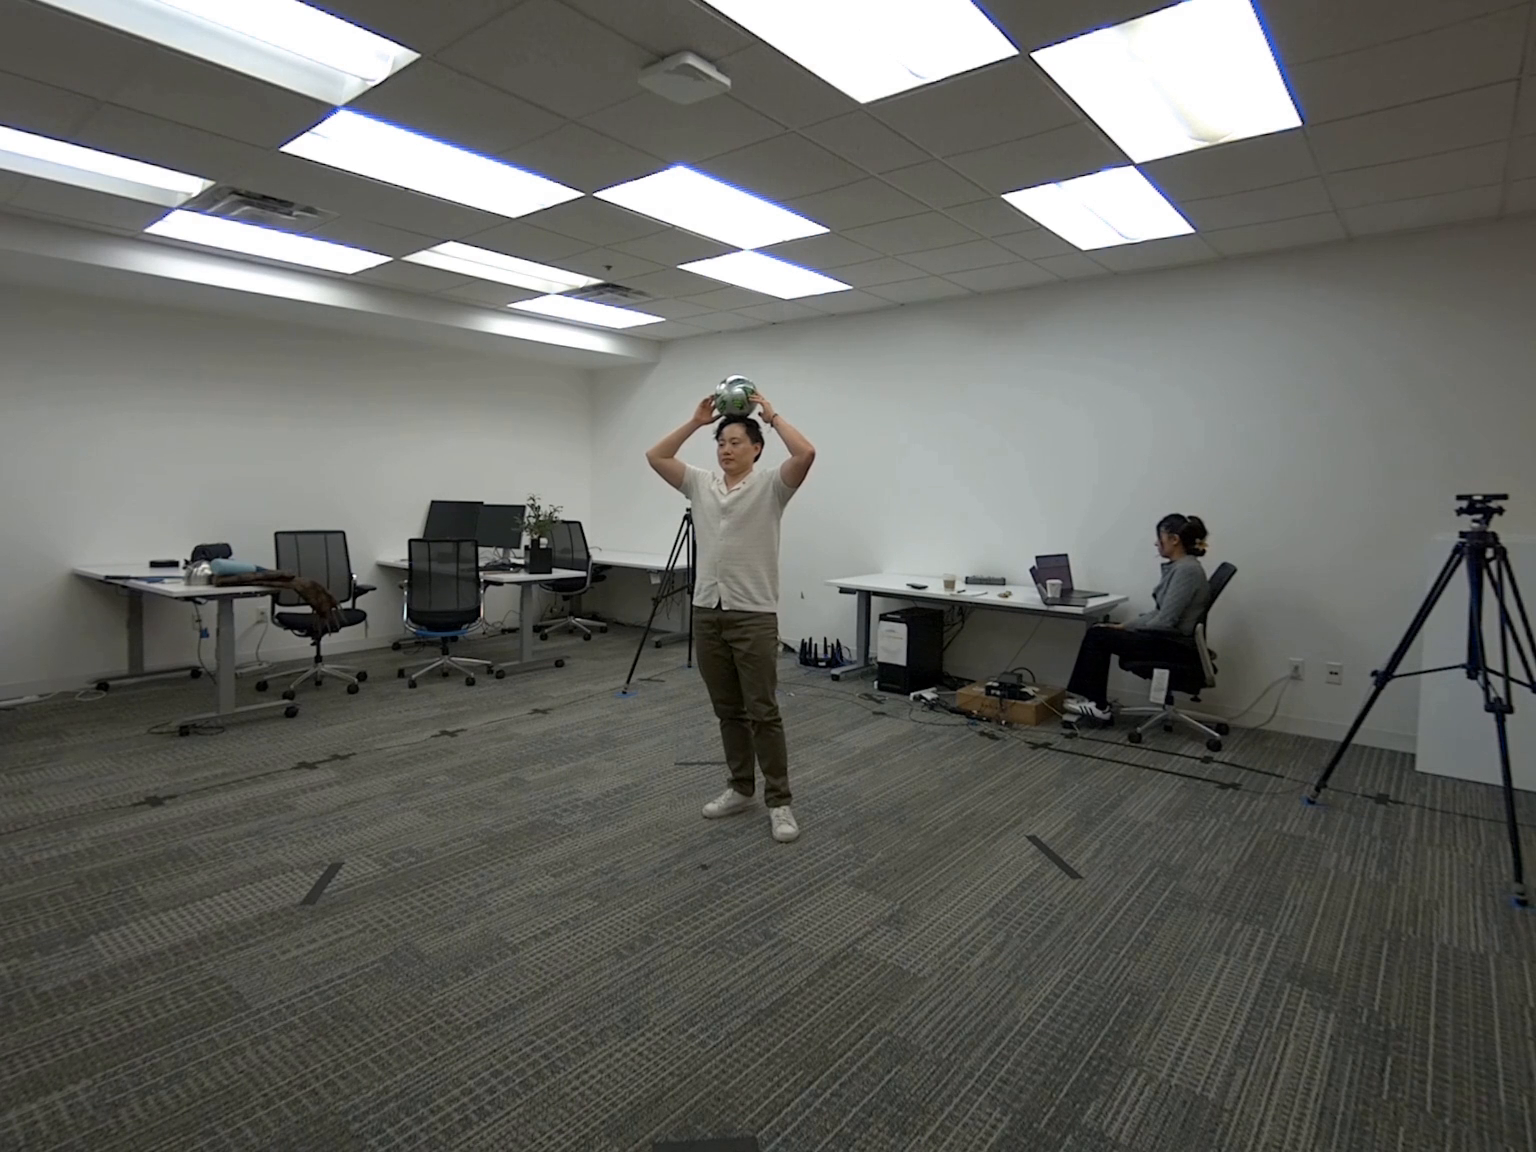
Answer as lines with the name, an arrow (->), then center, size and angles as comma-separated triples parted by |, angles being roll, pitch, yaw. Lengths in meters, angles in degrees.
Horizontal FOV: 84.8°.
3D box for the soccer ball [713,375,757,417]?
soccer ball -> -0.145, -0.759, 3.622 | 0.187, 0.187, 0.188 | 1, 4, -2
